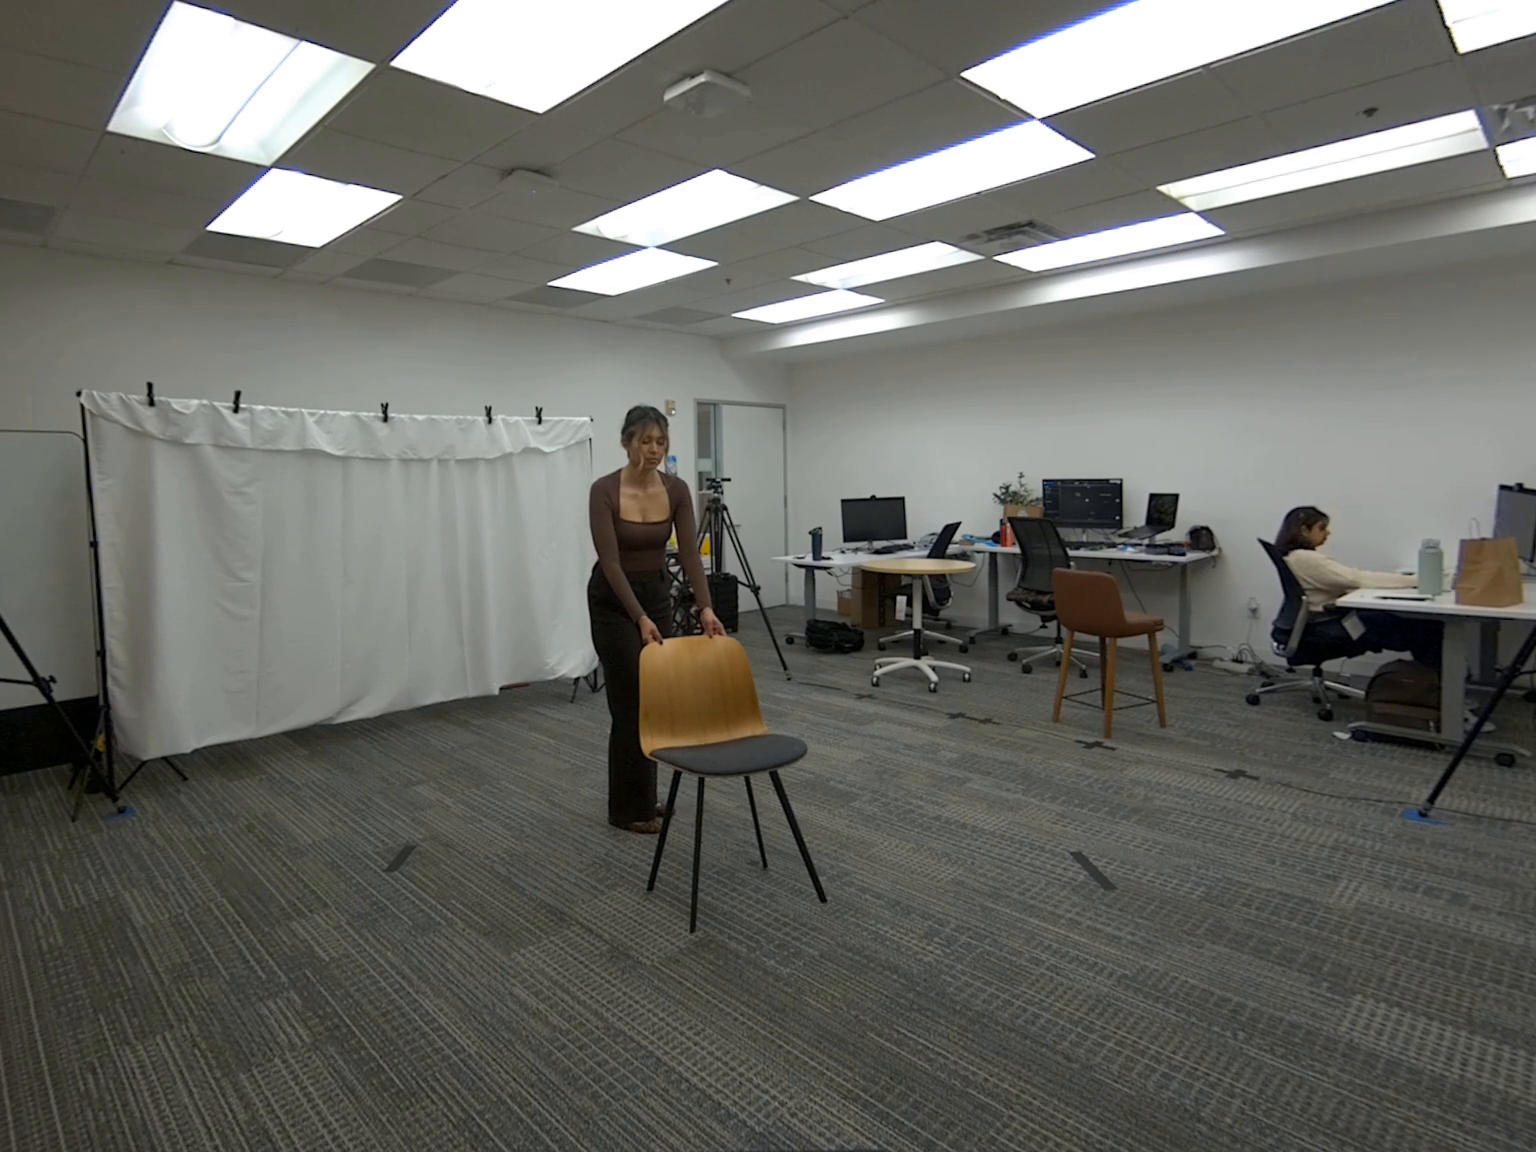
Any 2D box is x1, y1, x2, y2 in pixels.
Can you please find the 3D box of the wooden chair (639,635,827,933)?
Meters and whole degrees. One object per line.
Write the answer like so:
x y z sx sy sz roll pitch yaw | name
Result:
-0.147 0.622 2.805 0.469 0.885 0.529 -3 -9 -24 | wooden chair
